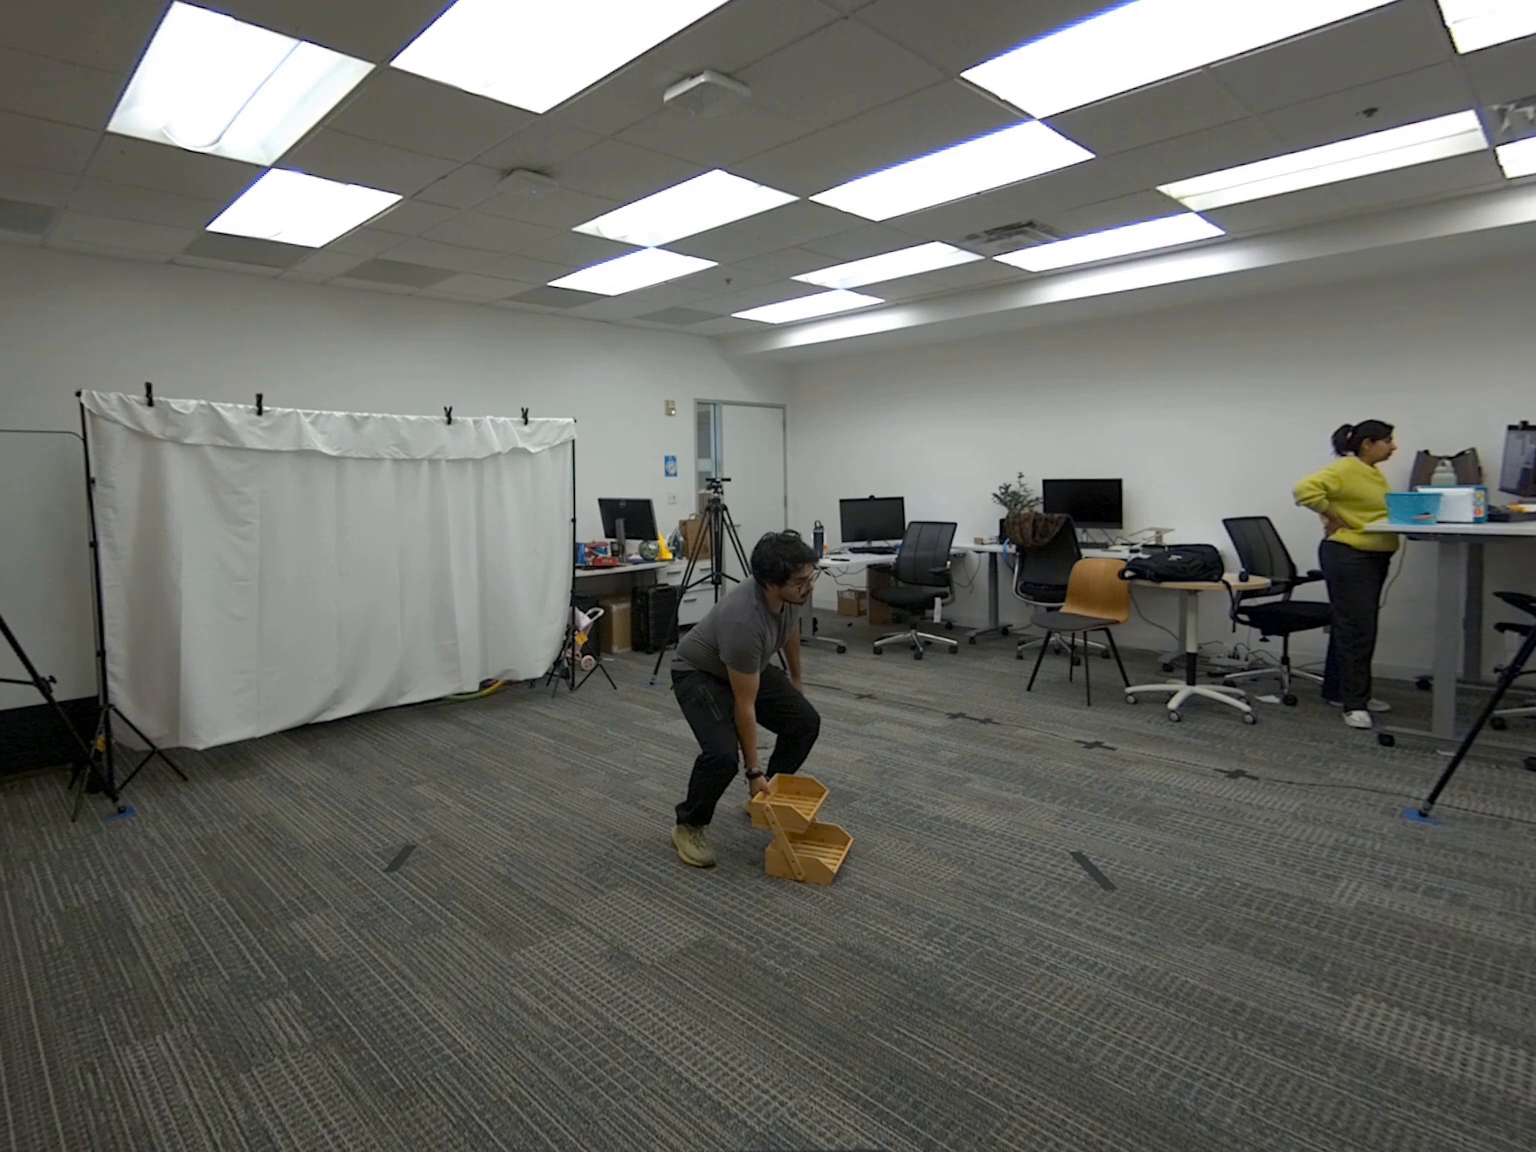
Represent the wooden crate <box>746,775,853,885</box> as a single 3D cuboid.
[{"bbox_3d":[0.134,0.904,3.097,0.308,0.272,0.320,1,5,19],"label":"wooden crate"}]
